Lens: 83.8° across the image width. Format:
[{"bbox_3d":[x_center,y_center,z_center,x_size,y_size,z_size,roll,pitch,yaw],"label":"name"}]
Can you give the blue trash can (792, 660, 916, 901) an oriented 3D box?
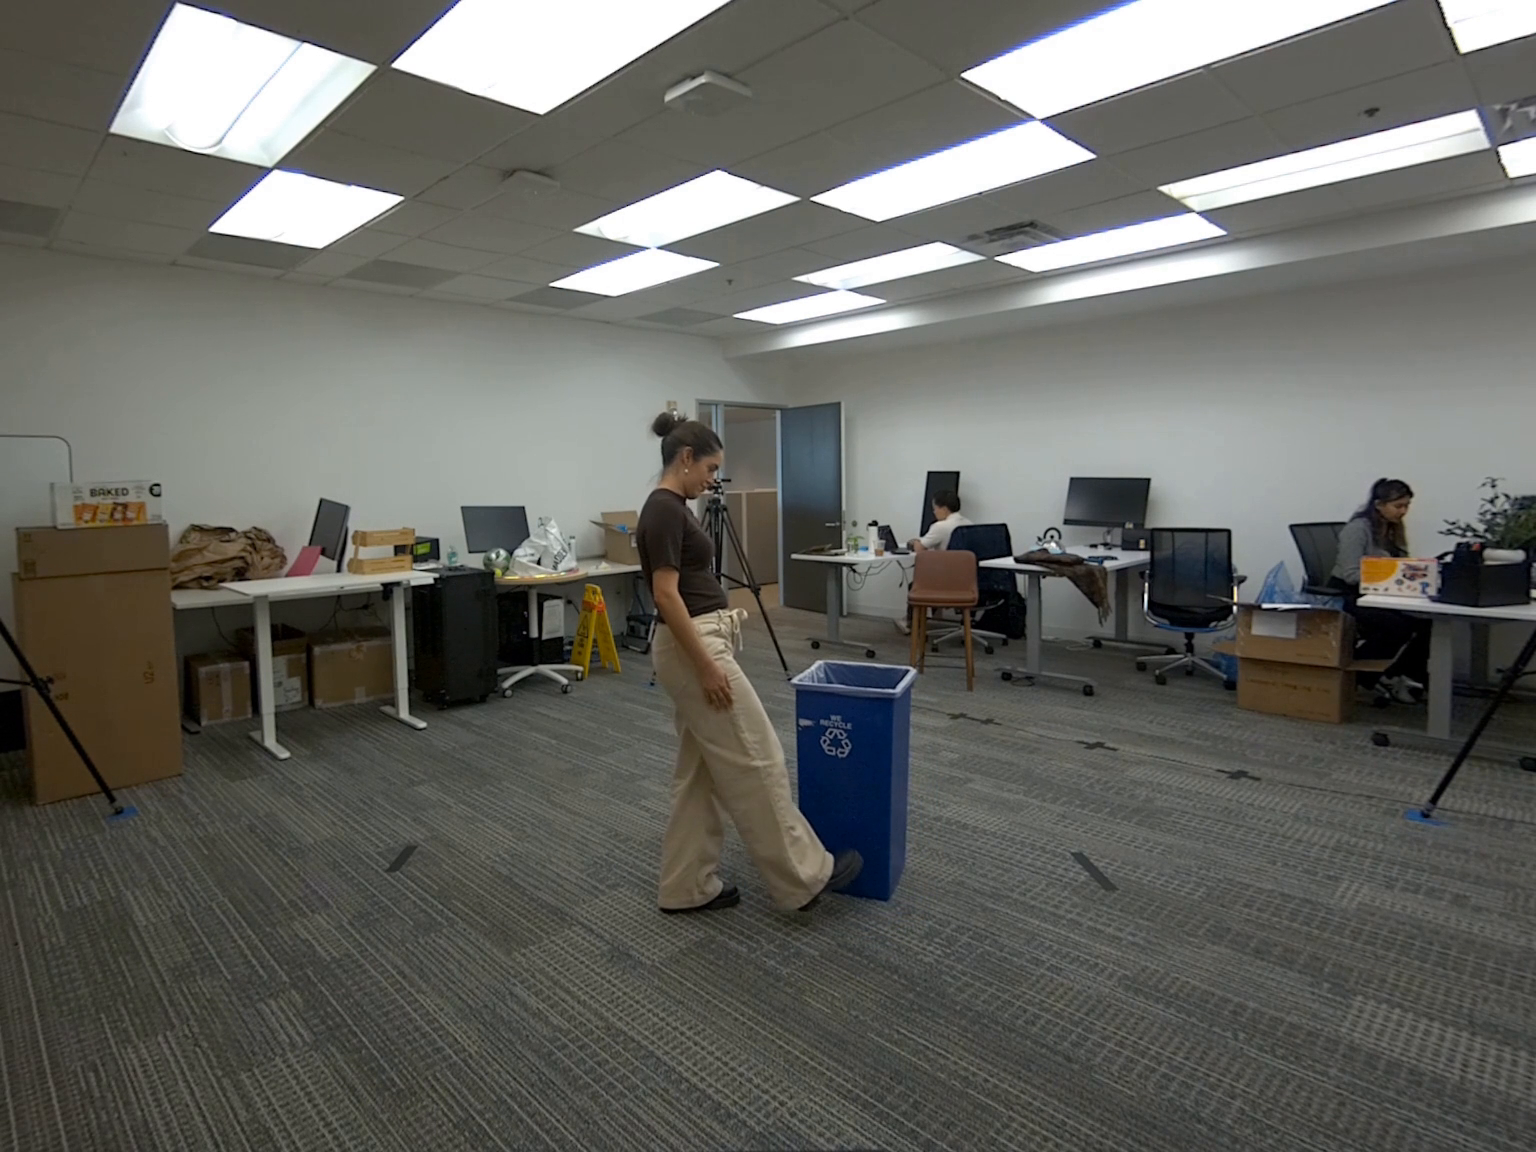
[{"bbox_3d":[0.309,0.692,2.972,0.386,0.711,0.368,1,4,21],"label":"blue trash can"}]
